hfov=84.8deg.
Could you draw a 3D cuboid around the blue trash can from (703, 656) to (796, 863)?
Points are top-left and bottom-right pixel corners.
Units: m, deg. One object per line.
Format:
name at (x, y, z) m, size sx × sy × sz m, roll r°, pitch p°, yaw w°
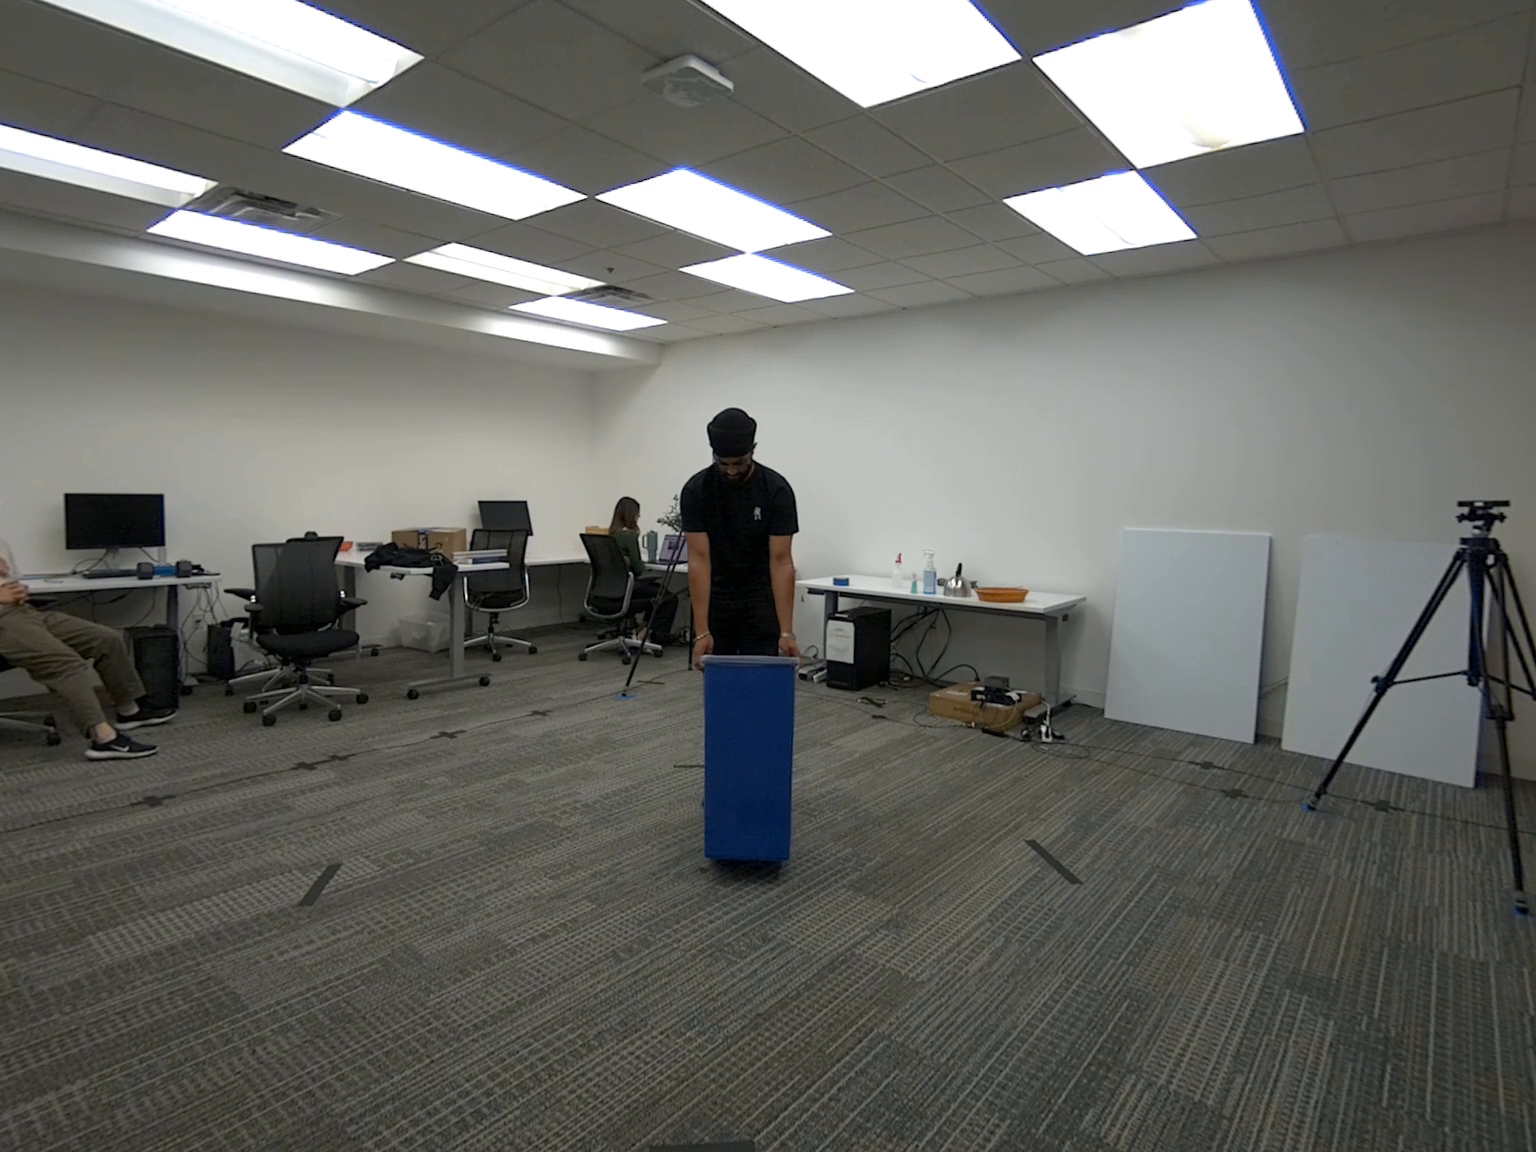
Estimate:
blue trash can at (-0.091, 0.684, 3.245) m, size 0.378 × 0.723 × 0.369 m, roll 1°, pitch -14°, yaw -1°
